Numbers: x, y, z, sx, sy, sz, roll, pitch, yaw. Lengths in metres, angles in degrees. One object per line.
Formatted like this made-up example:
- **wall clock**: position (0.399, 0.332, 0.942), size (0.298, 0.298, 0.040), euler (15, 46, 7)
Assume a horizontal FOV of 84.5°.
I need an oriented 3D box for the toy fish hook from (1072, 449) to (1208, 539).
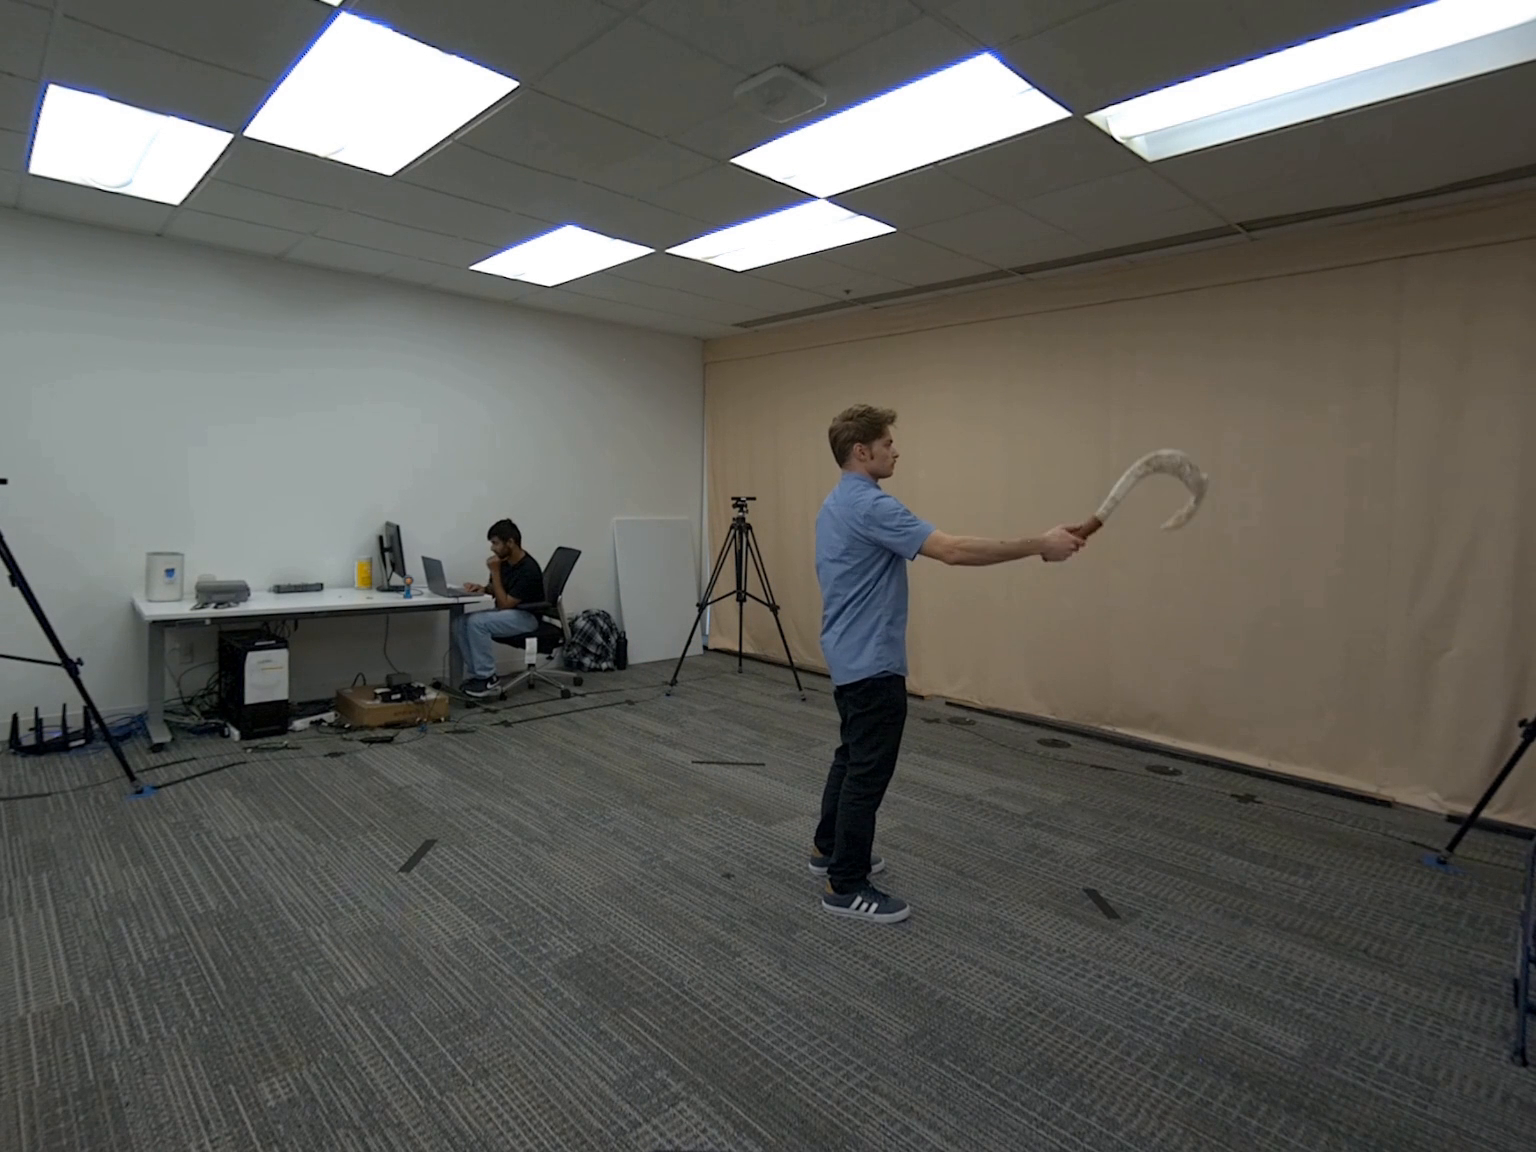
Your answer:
- **toy fish hook**: position (1.044, -0.155, 2.504), size (0.507, 0.230, 0.047), euler (-40, -23, 11)
